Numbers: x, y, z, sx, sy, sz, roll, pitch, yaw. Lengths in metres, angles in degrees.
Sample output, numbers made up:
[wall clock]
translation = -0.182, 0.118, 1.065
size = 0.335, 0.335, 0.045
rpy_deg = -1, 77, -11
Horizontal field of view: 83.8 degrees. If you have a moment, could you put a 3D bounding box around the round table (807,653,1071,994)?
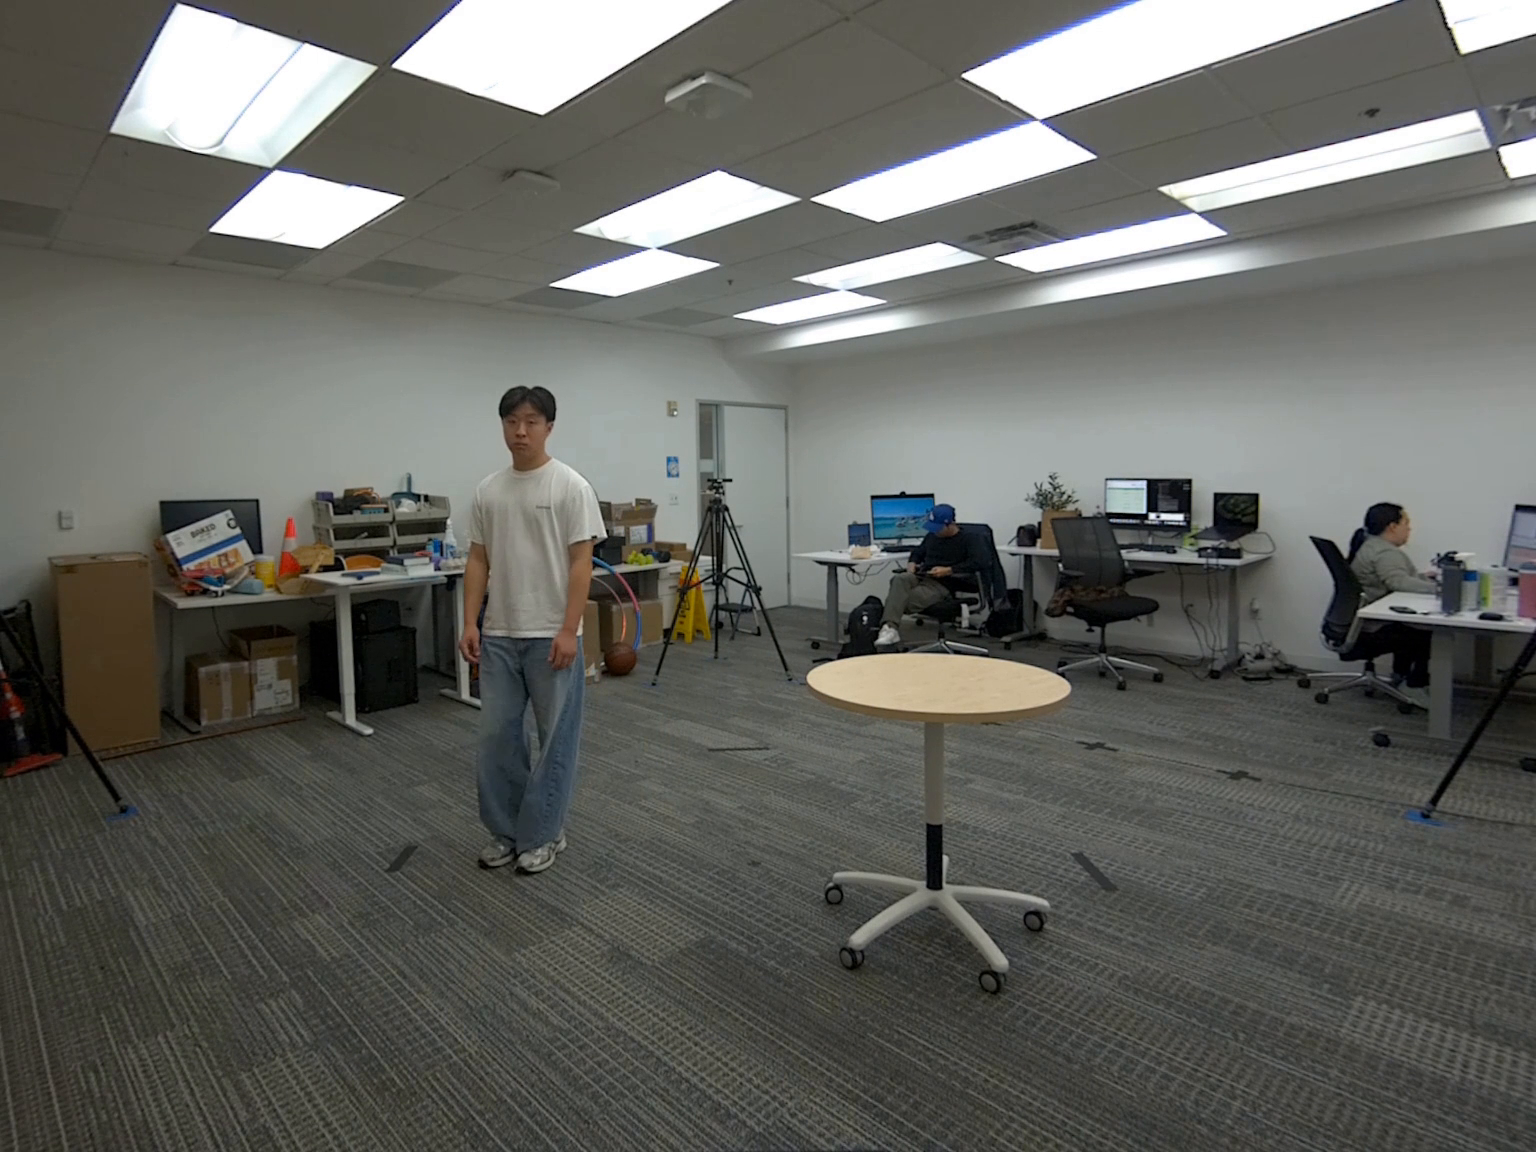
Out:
[round table]
translation = 0.510, 0.705, 2.601
size = 0.763, 0.791, 0.768
rpy_deg = -1, 5, -2
